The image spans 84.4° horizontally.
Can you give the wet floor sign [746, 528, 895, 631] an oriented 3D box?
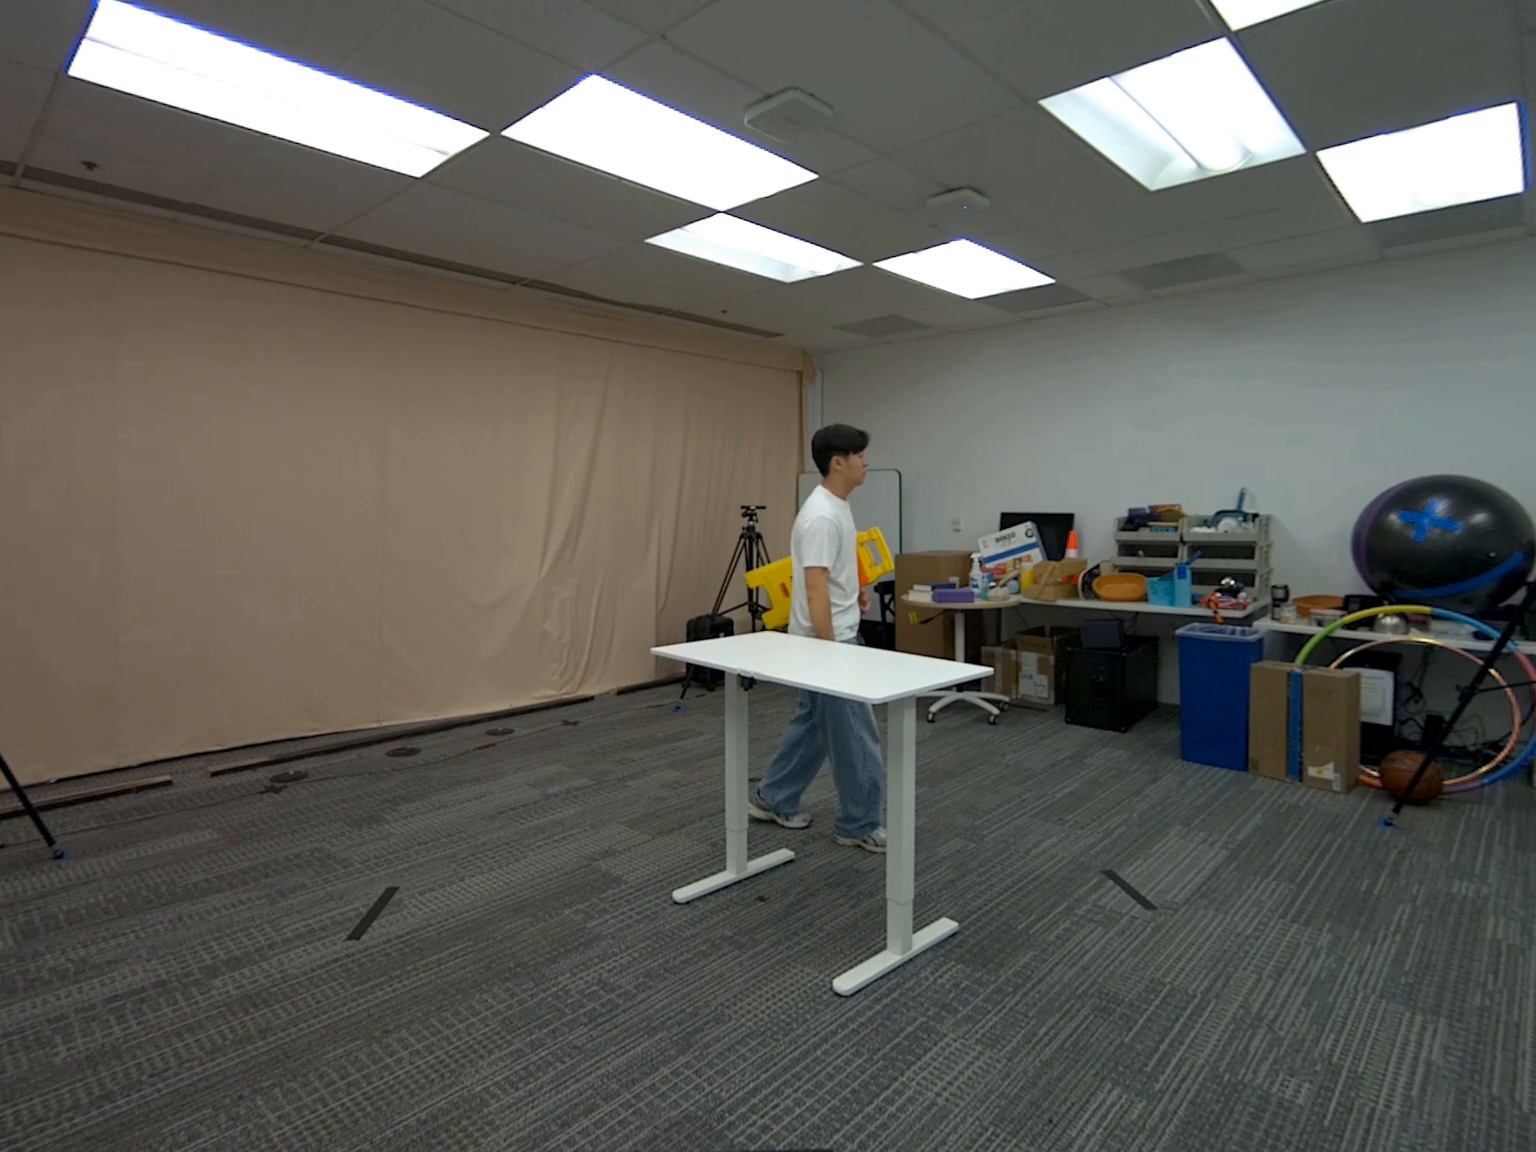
[{"bbox_3d":[0.244,-0.002,3.741,0.657,0.284,0.283,-24,-6,27],"label":"wet floor sign"}]
